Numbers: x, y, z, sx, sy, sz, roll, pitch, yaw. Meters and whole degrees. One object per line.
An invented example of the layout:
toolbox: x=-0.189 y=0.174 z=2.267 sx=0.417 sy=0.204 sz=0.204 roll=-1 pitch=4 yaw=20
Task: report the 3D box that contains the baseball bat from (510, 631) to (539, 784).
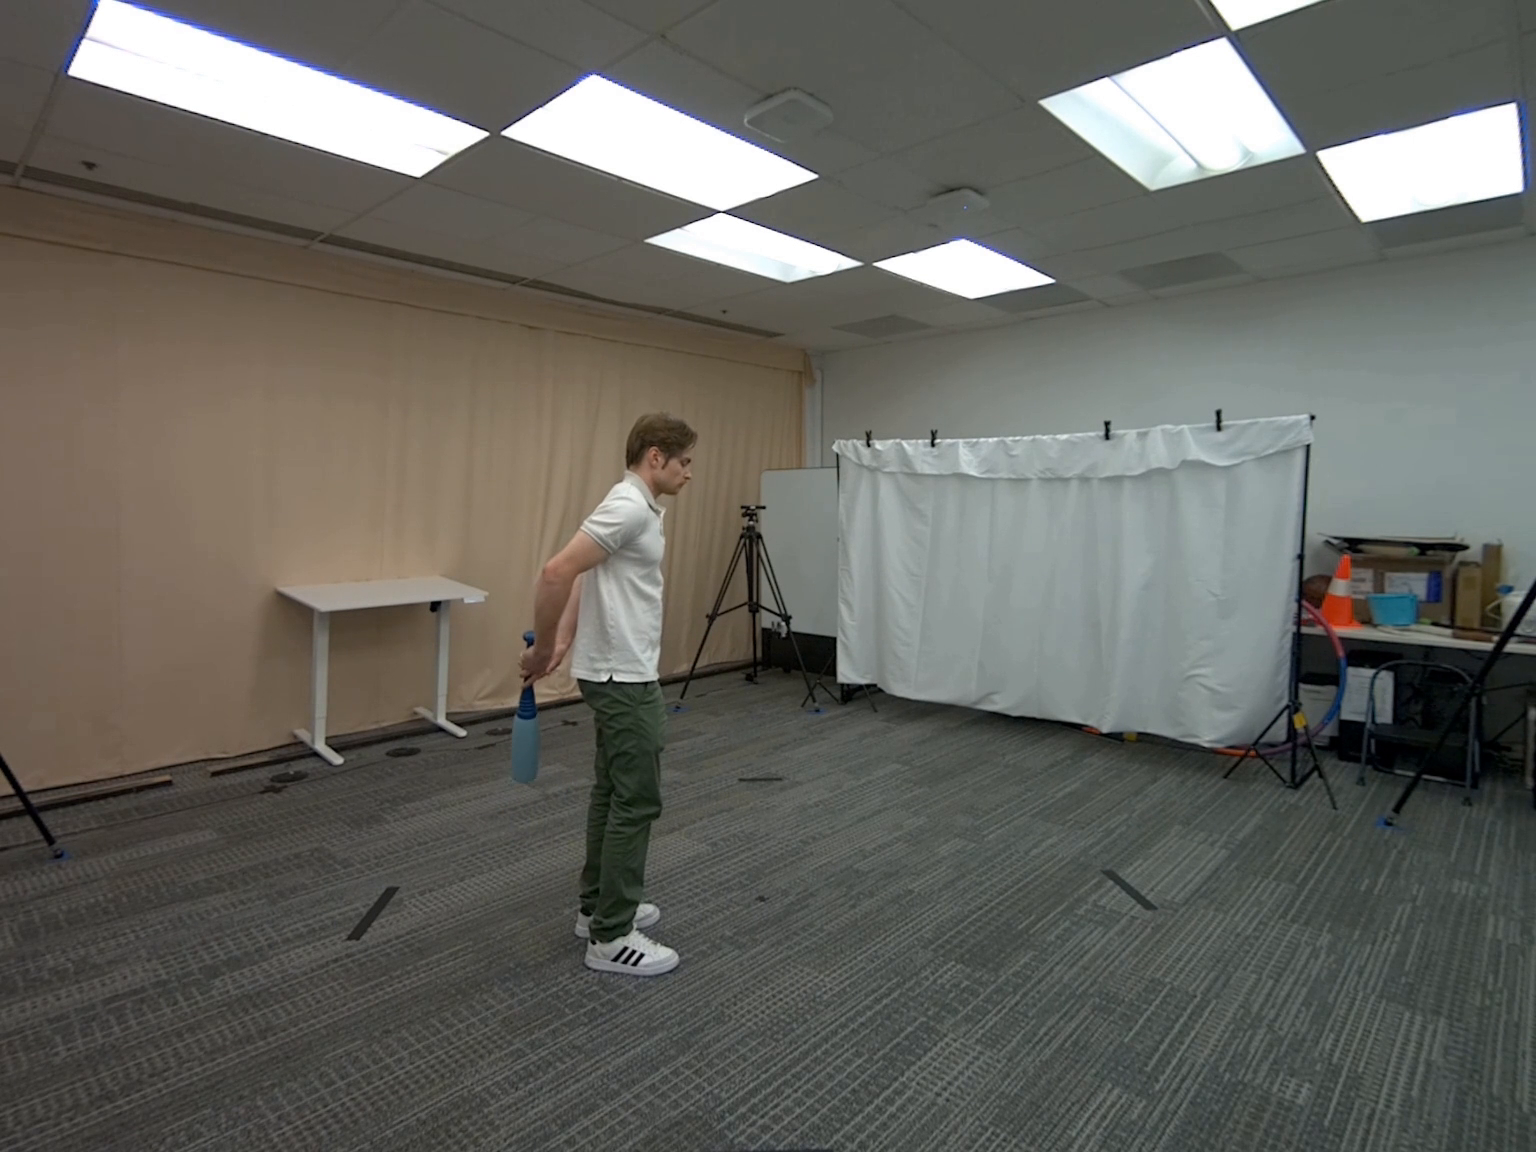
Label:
baseball bat: x=-0.763 y=0.419 z=2.665 sx=0.089 sy=0.539 sz=0.090 roll=8 pitch=17 yaw=-5
